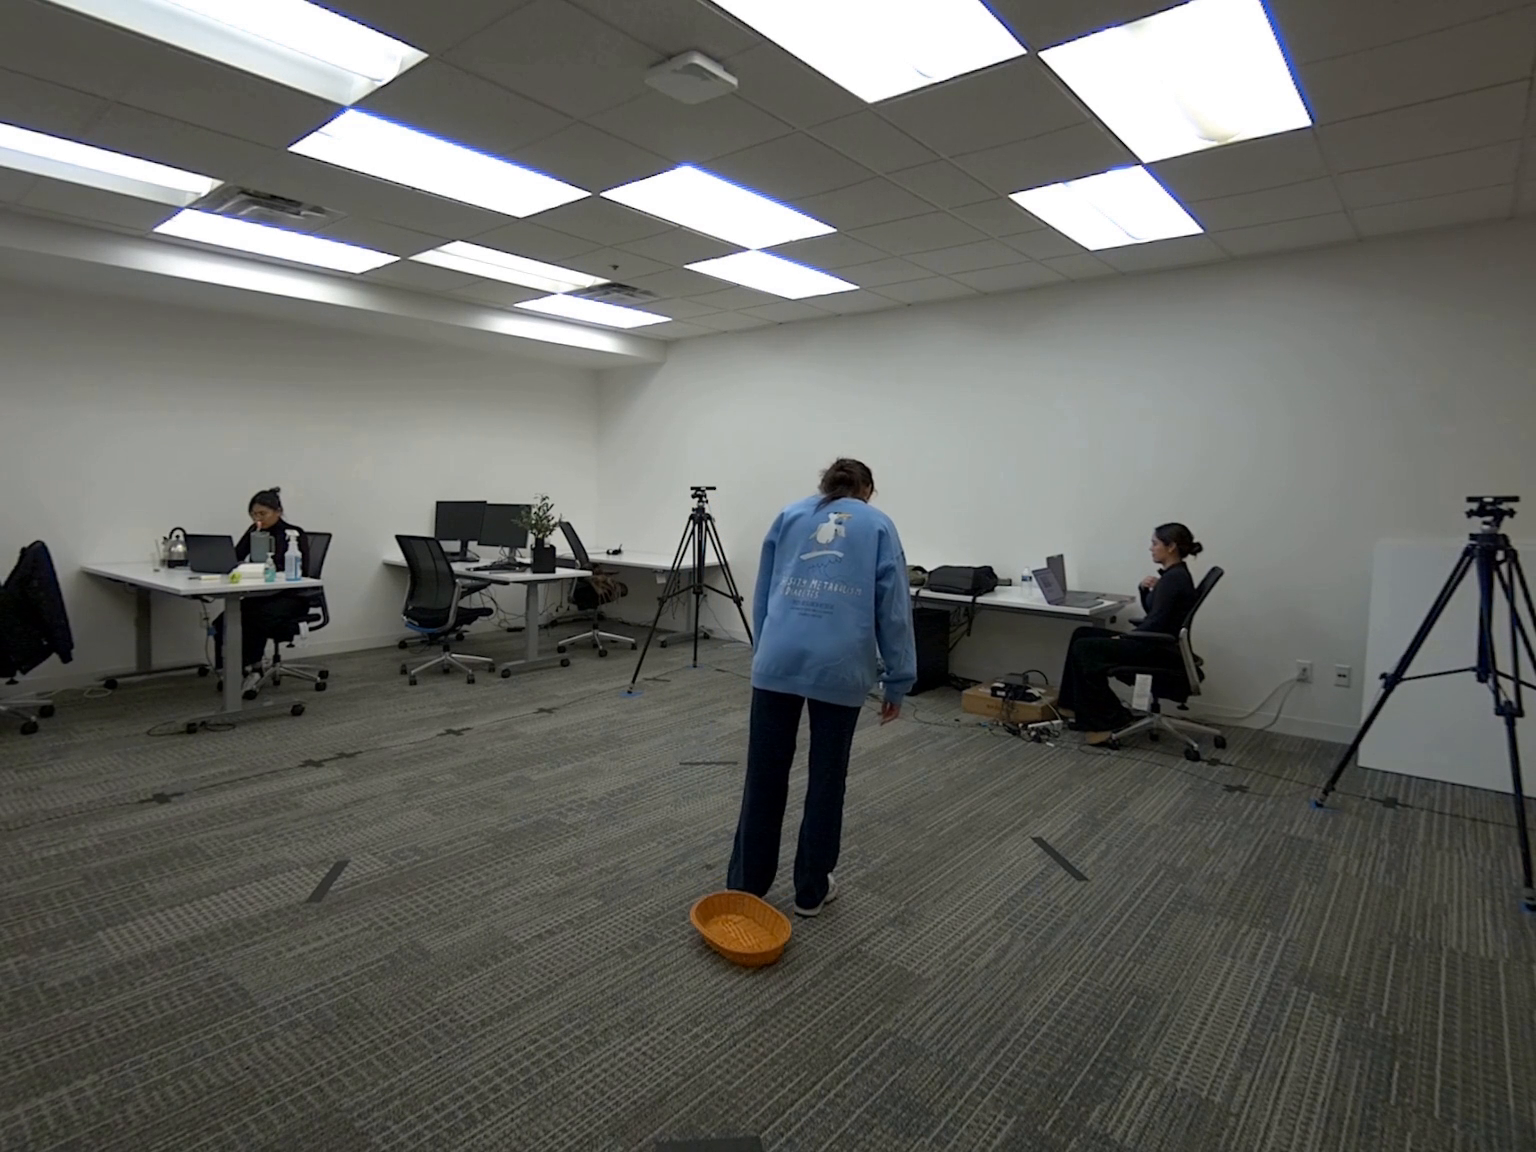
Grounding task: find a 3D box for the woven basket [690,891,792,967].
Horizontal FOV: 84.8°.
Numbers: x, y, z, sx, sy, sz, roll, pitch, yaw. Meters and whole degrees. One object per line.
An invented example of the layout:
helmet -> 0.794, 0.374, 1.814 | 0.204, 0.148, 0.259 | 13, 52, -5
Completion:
woven basket -> -0.089, 1.073, 2.589 | 0.246, 0.073, 0.362 | -8, 12, -32
